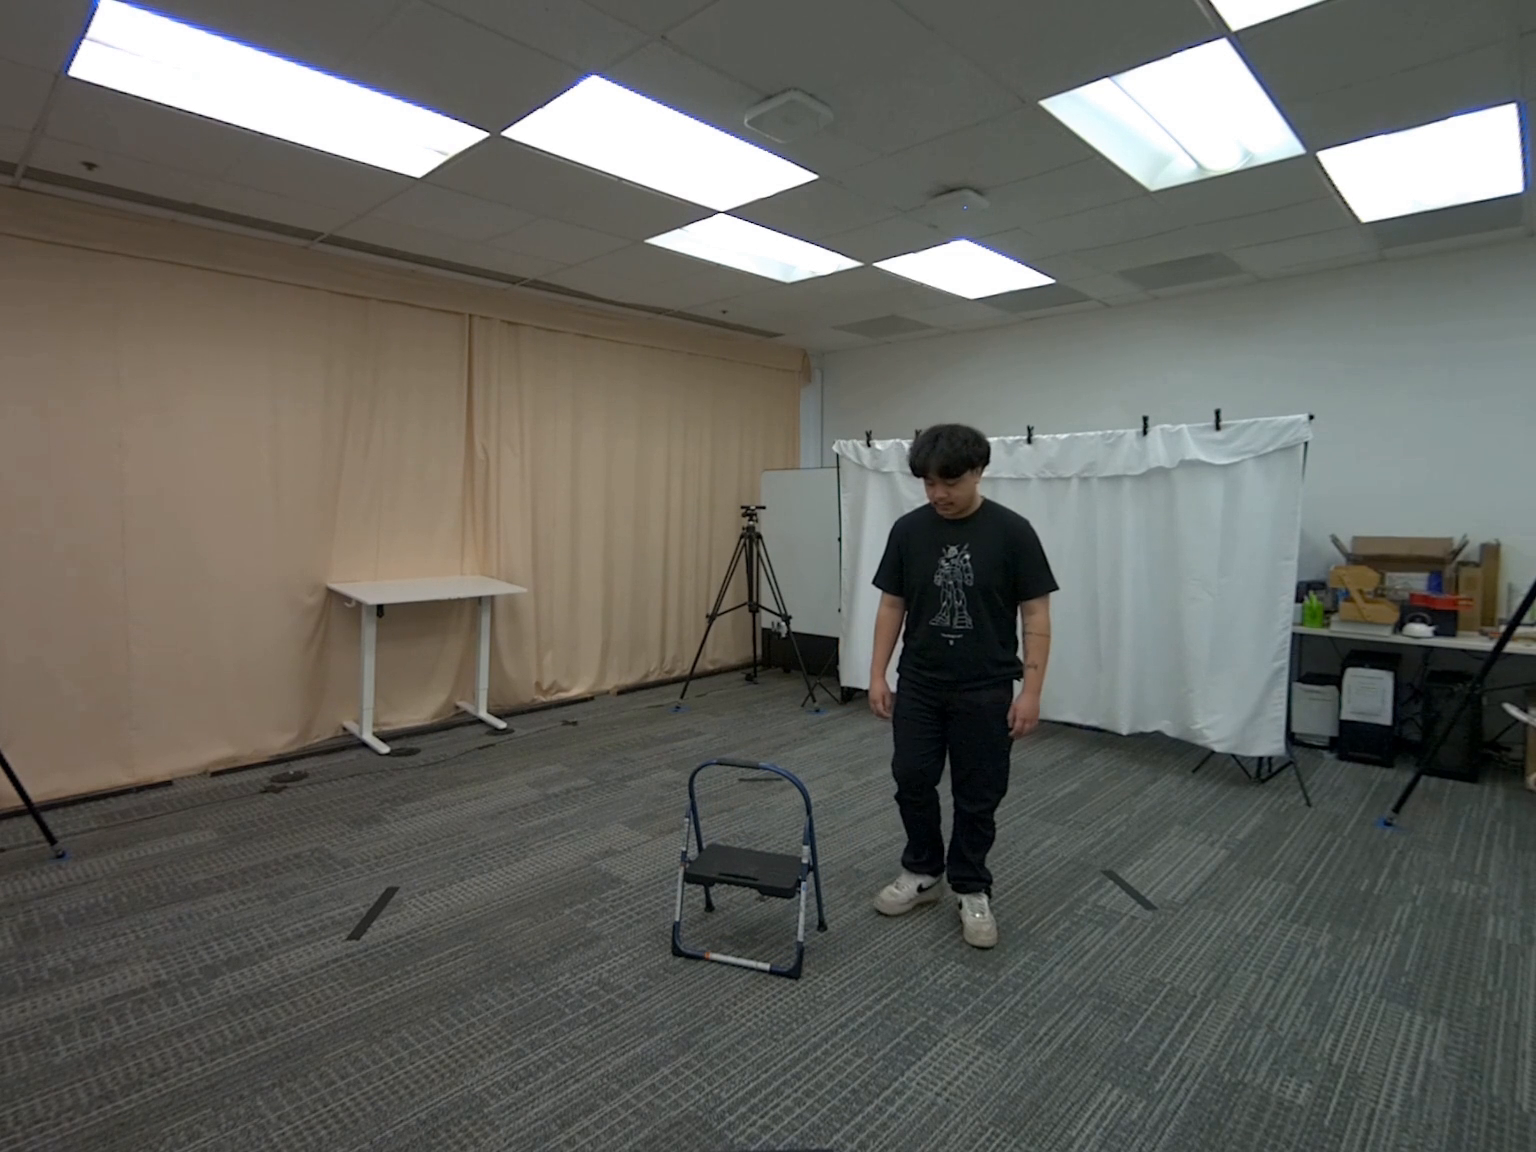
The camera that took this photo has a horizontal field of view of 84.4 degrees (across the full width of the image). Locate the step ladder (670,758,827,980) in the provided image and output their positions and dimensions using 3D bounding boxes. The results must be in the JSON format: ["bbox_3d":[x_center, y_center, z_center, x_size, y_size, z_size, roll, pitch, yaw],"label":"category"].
[{"bbox_3d":[-0.053,0.870,2.684,0.439,0.605,0.343,1,3,18],"label":"step ladder"}]
